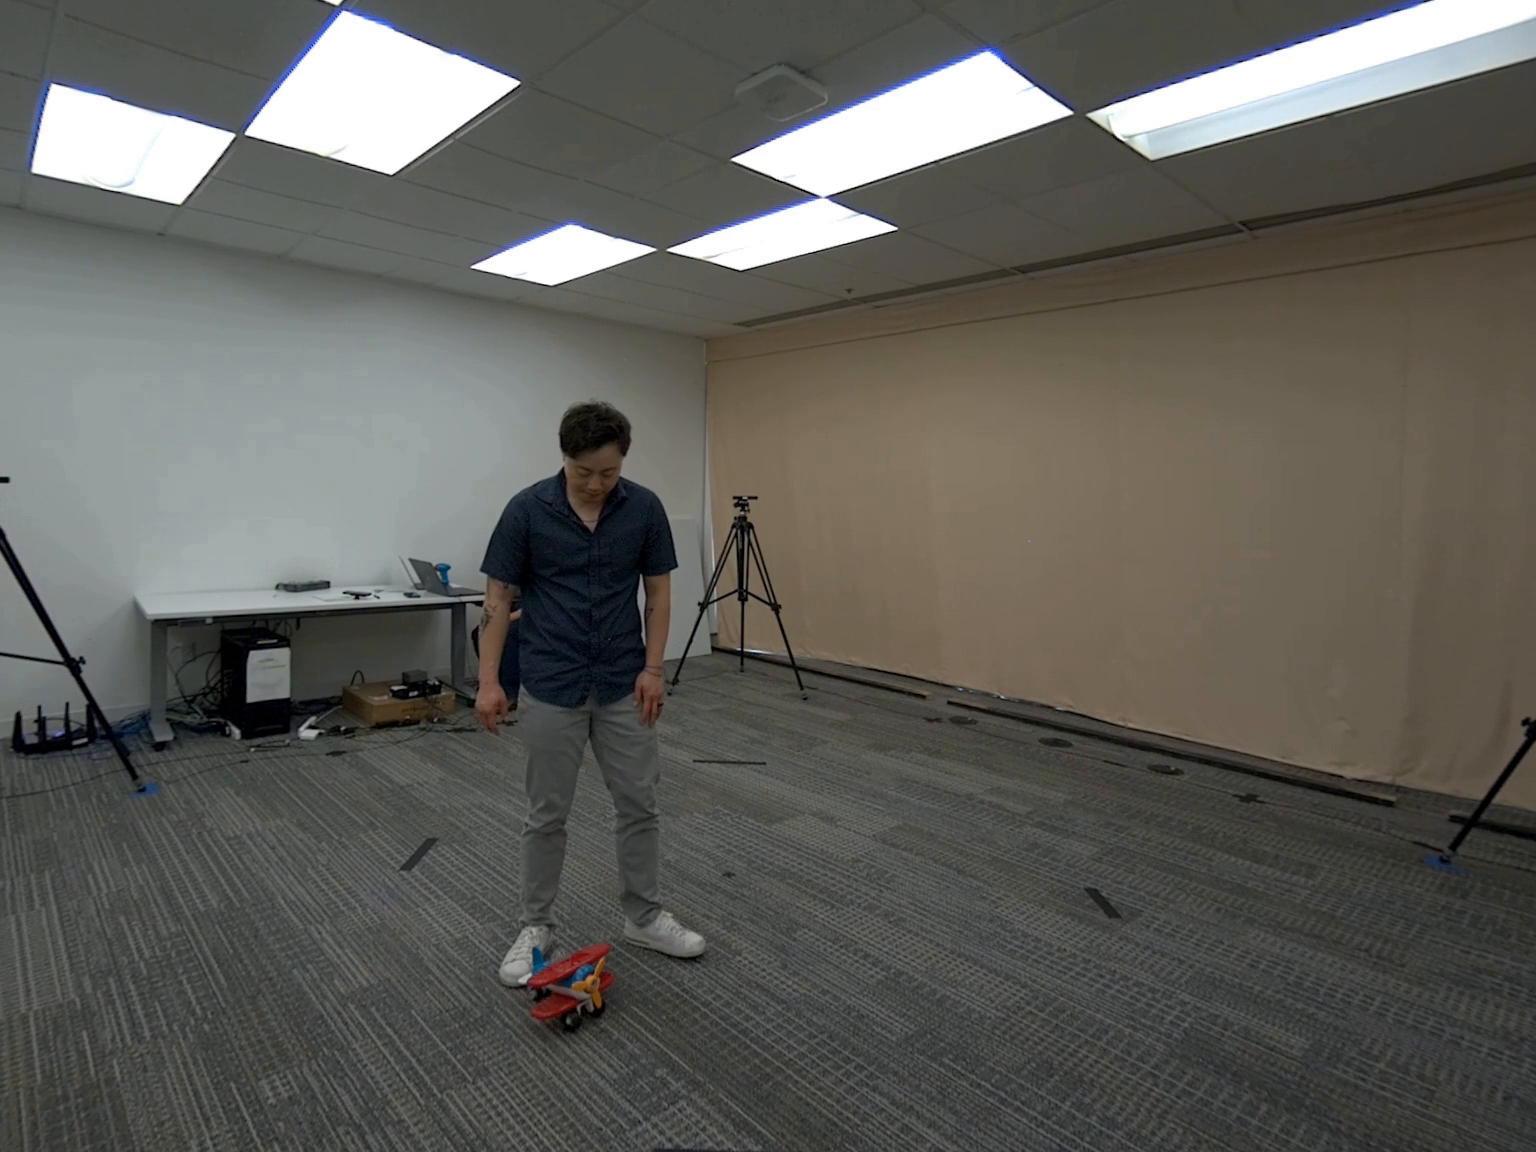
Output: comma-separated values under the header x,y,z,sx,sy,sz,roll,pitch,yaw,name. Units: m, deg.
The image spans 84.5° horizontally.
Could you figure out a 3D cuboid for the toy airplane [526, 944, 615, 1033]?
x,y,z,sx,sy,sz,roll,pitch,yaw,name
-0.563,1.104,2.240,0.262,0.156,0.249,3,5,11,toy airplane
